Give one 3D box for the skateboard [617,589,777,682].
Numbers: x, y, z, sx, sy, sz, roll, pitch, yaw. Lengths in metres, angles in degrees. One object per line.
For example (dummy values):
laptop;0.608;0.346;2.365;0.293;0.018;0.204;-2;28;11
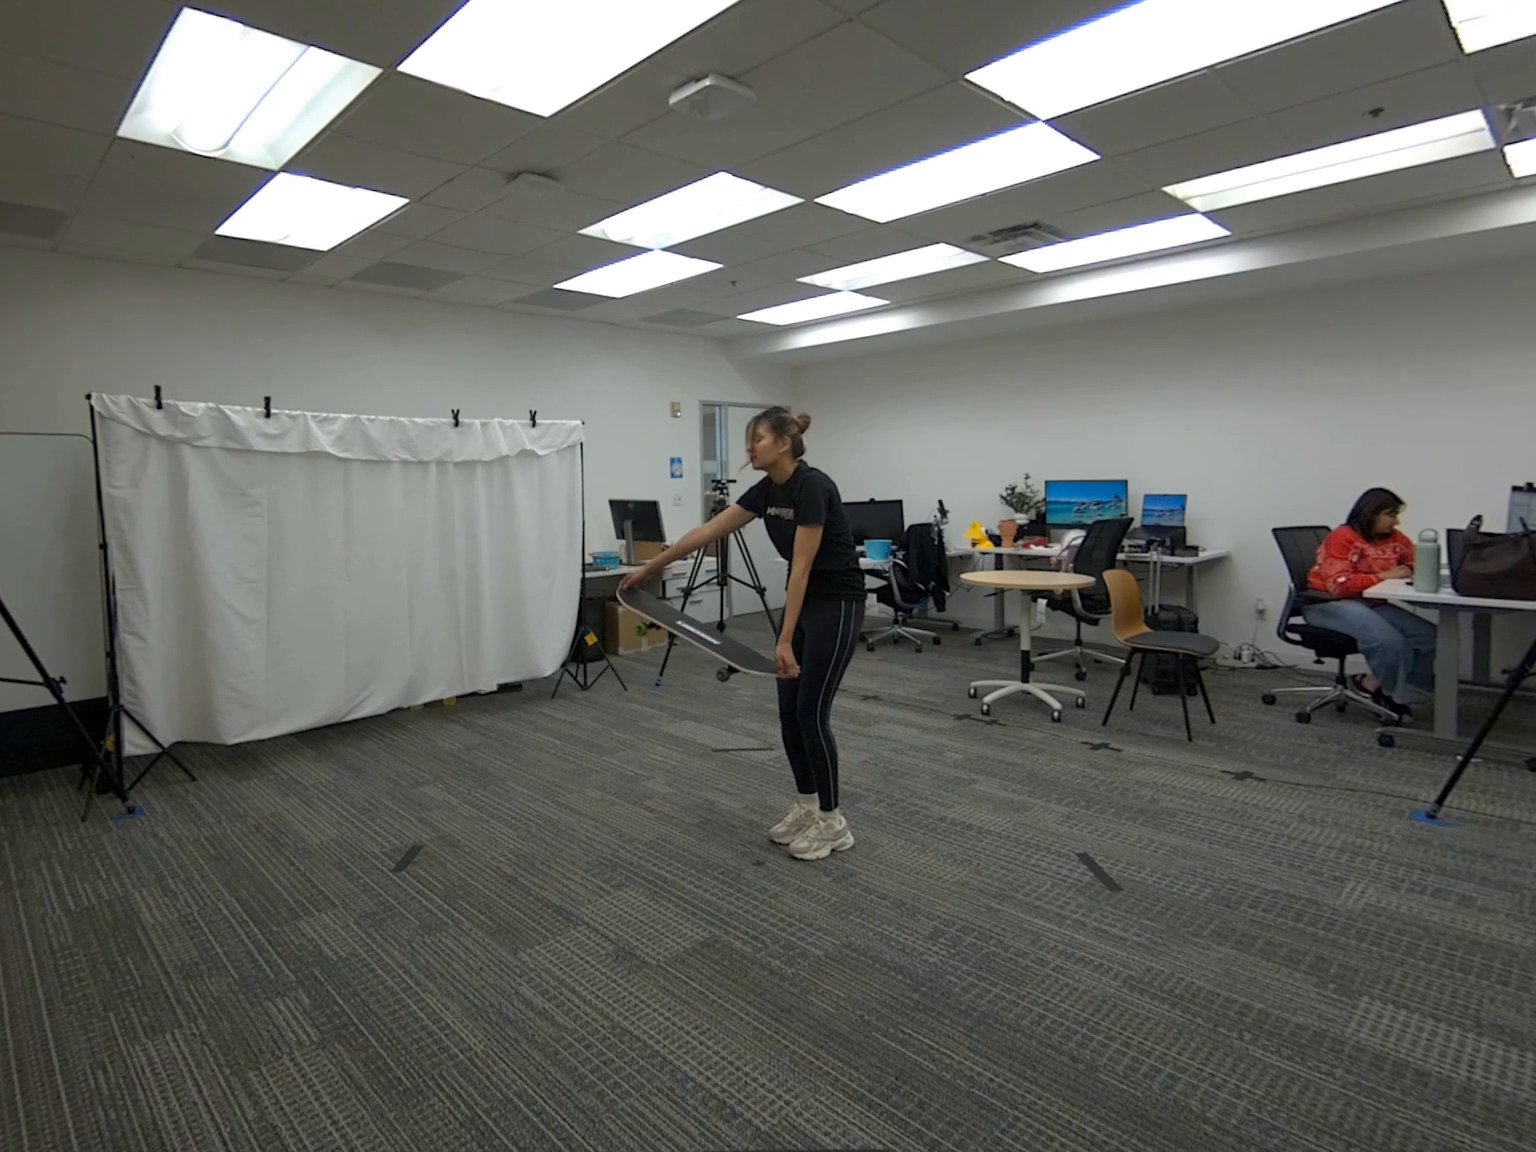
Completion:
skateboard;-0.265;0.240;3.166;0.812;0.109;0.189;25;18;31
